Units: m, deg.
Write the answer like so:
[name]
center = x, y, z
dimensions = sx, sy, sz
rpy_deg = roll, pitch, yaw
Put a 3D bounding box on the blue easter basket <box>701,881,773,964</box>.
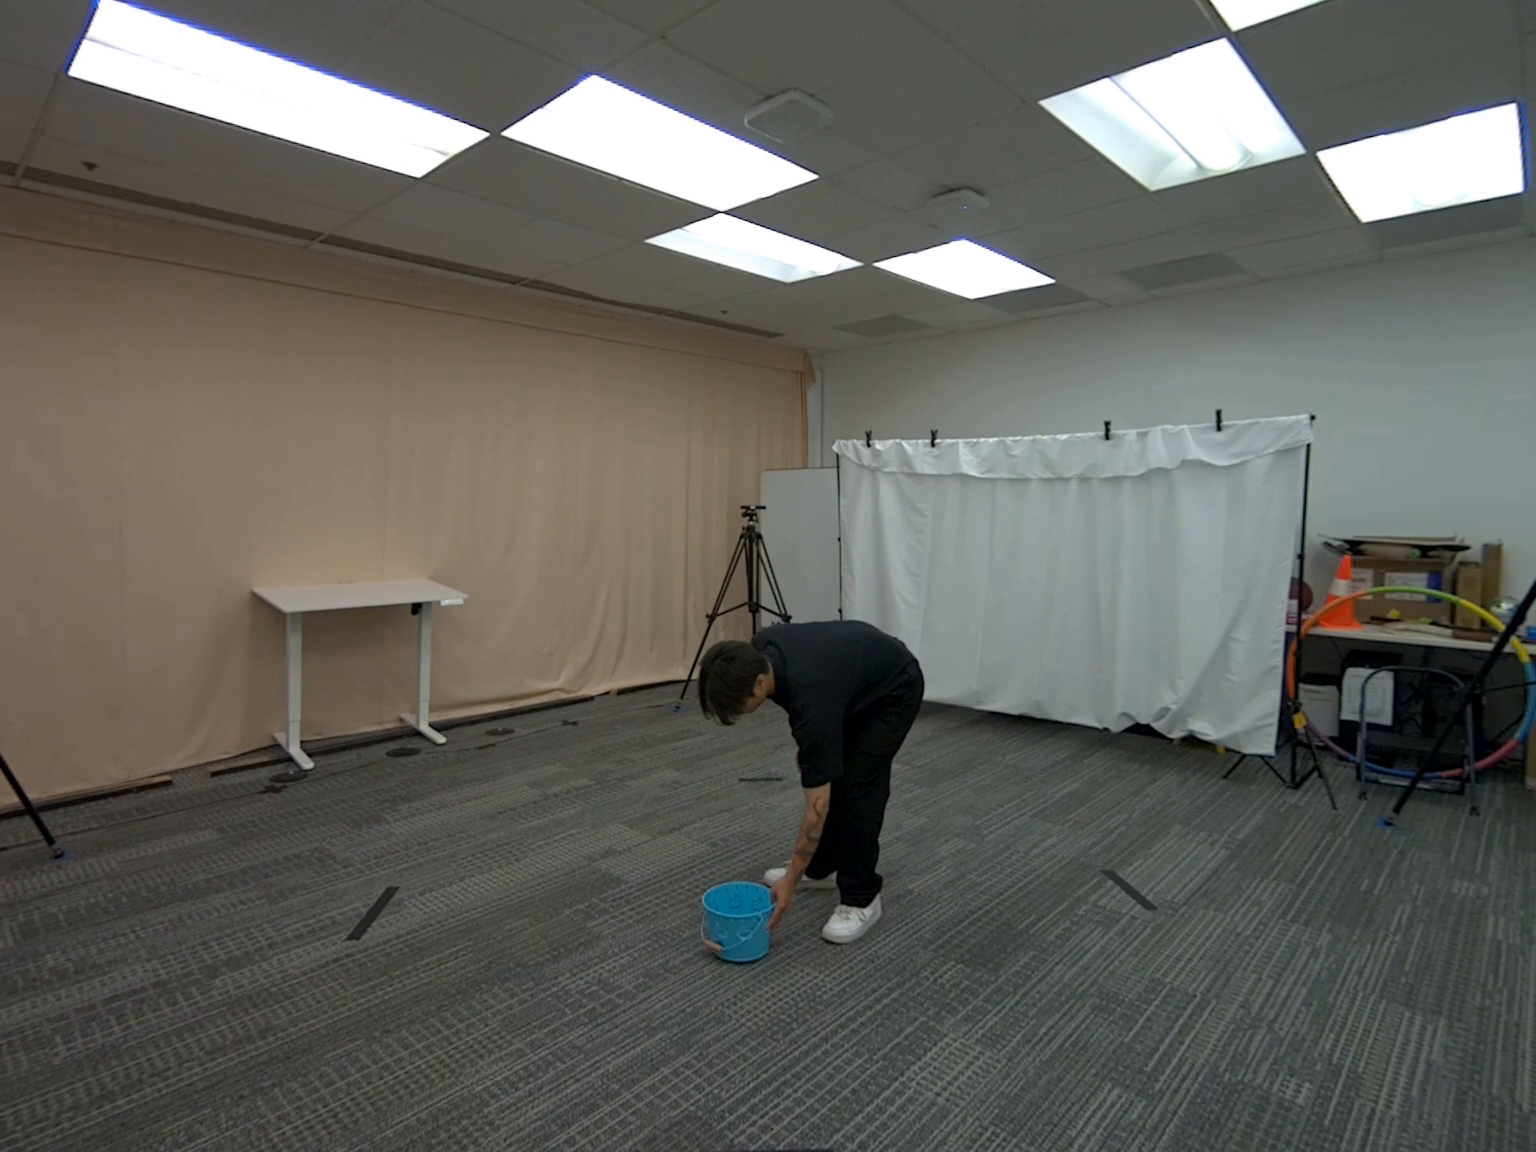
[blue easter basket]
center = -0.088, 1.077, 2.626
dimensions = 0.243, 0.155, 0.244
rpy_deg = 0, 3, -2
